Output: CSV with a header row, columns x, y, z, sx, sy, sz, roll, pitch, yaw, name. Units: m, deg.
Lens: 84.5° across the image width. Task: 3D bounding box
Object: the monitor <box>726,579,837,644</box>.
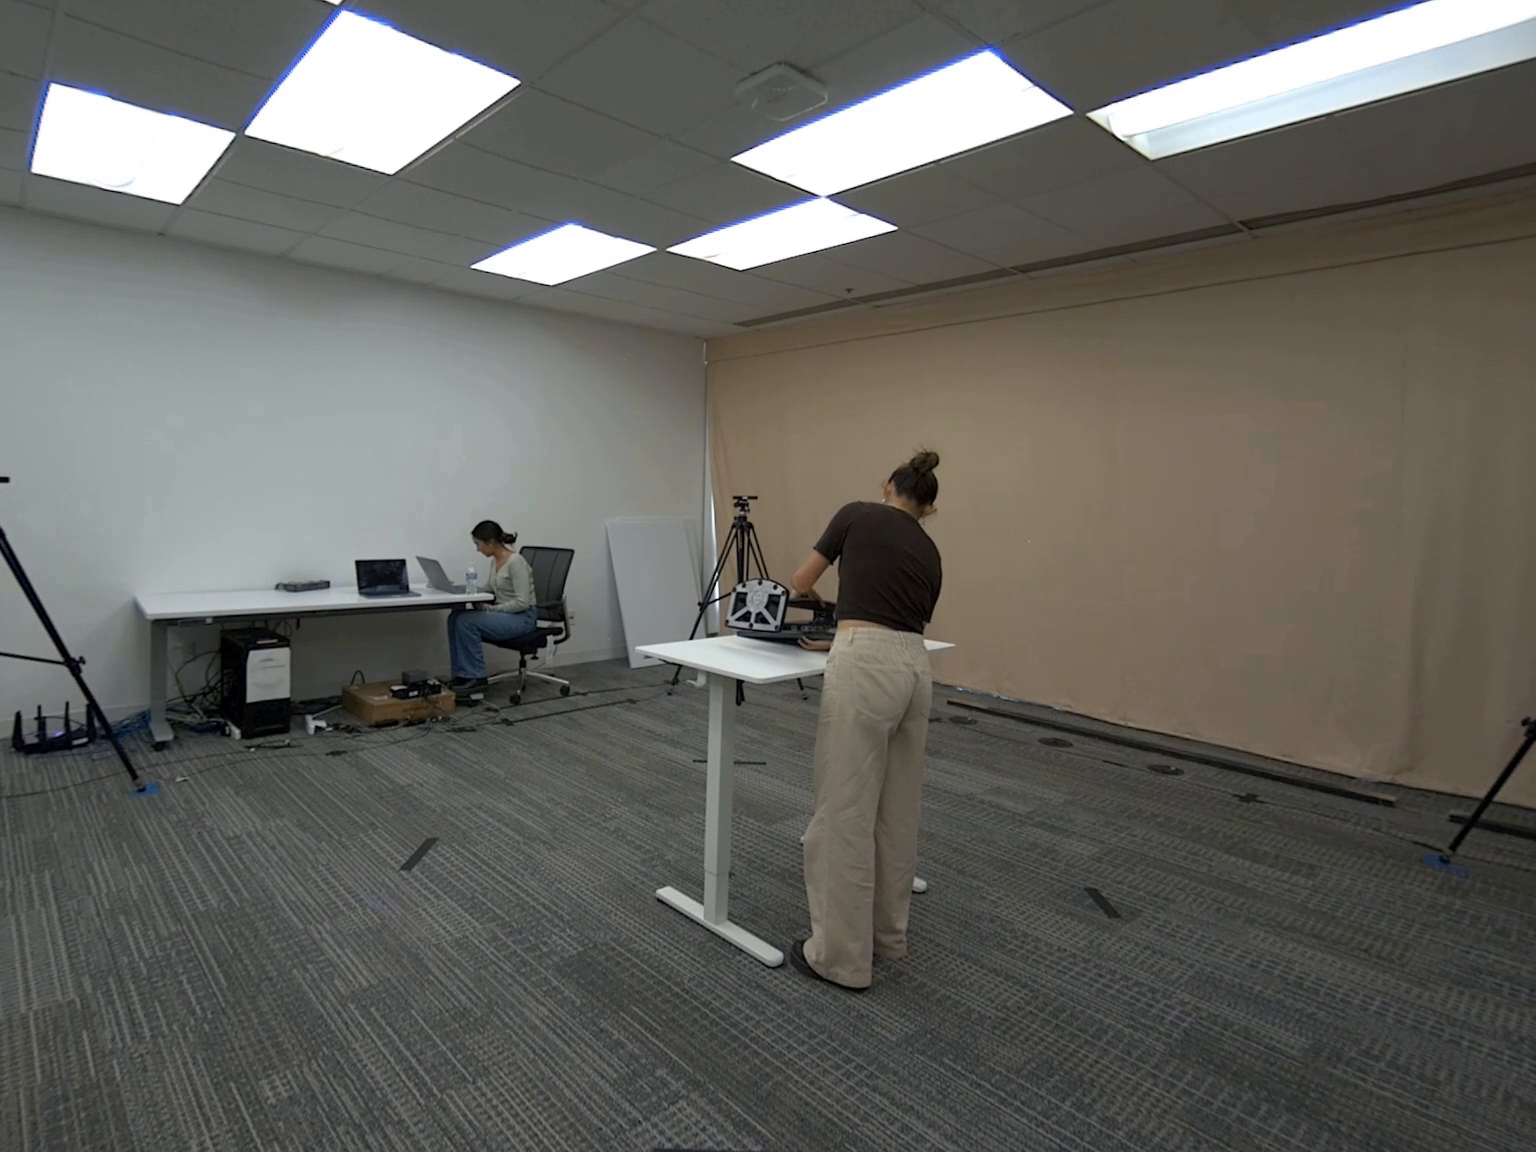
x,y,z,sx,sy,sz,roll,pitch,yaw,name
0.130,0.153,2.969,0.507,0.188,0.552,19,-12,-41,monitor
